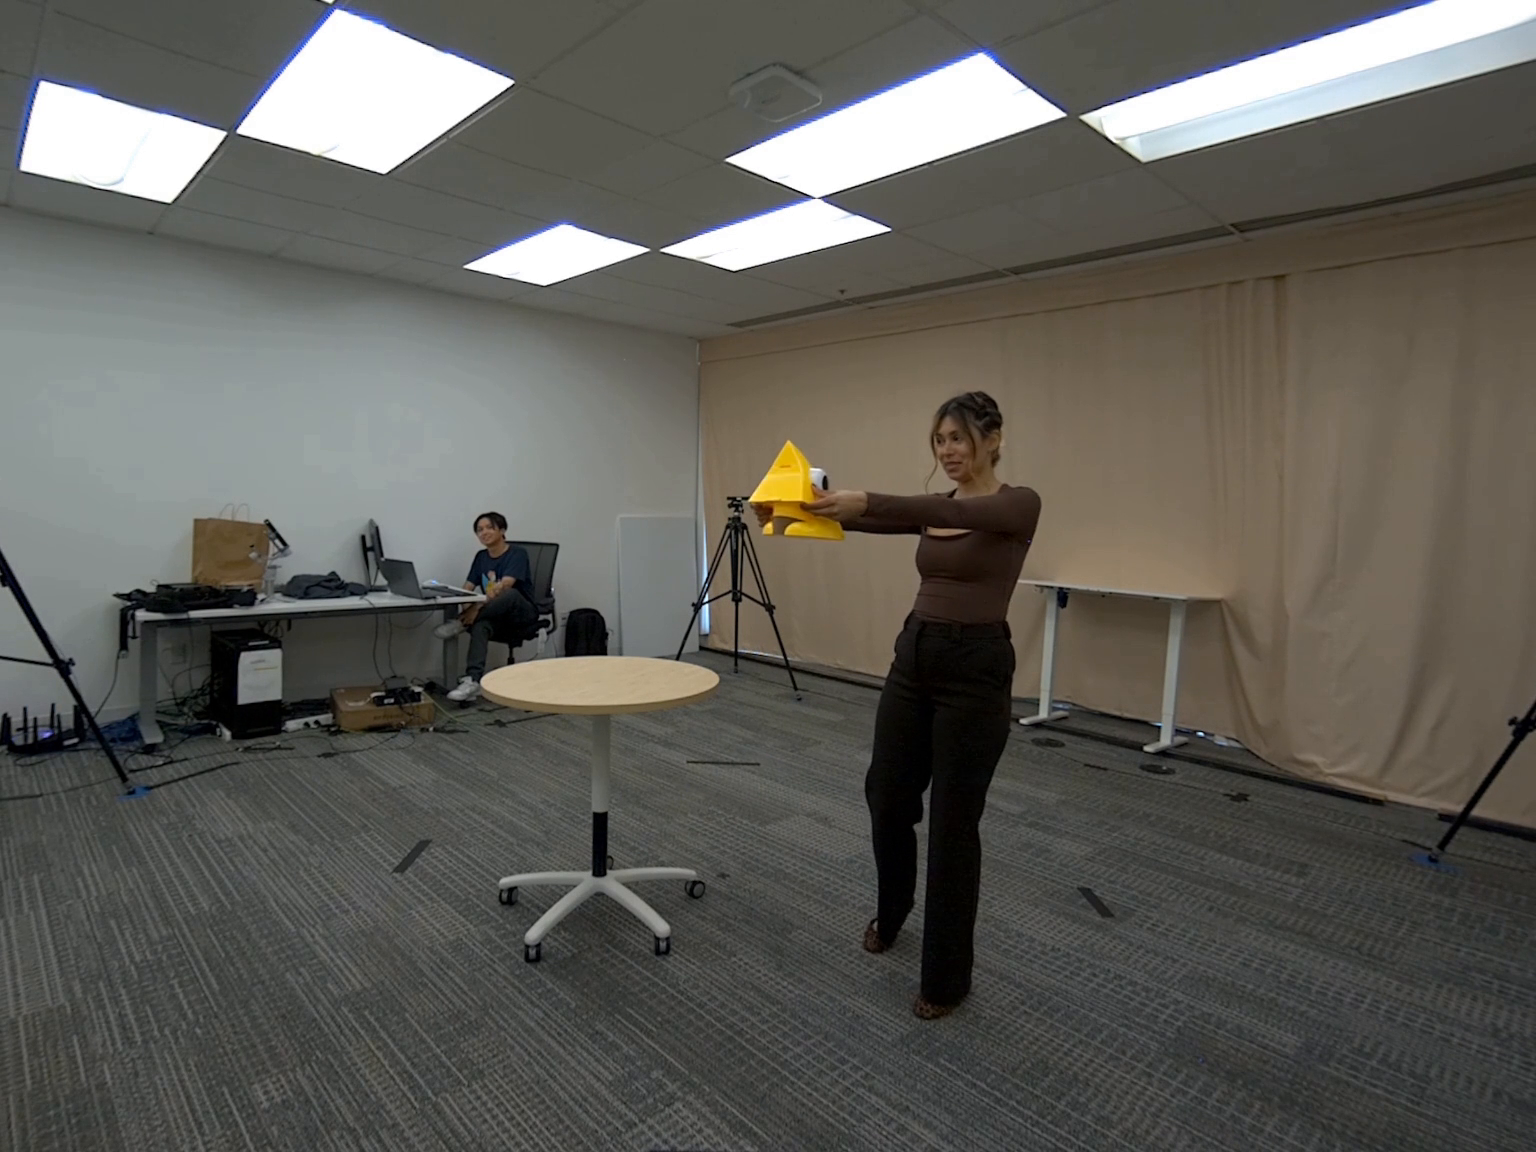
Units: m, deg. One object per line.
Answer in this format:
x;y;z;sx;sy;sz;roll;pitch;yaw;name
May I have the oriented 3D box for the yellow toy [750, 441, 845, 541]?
0.089;-0.209;2.082;0.188;0.231;0.210;4;-1;-38;yellow toy
